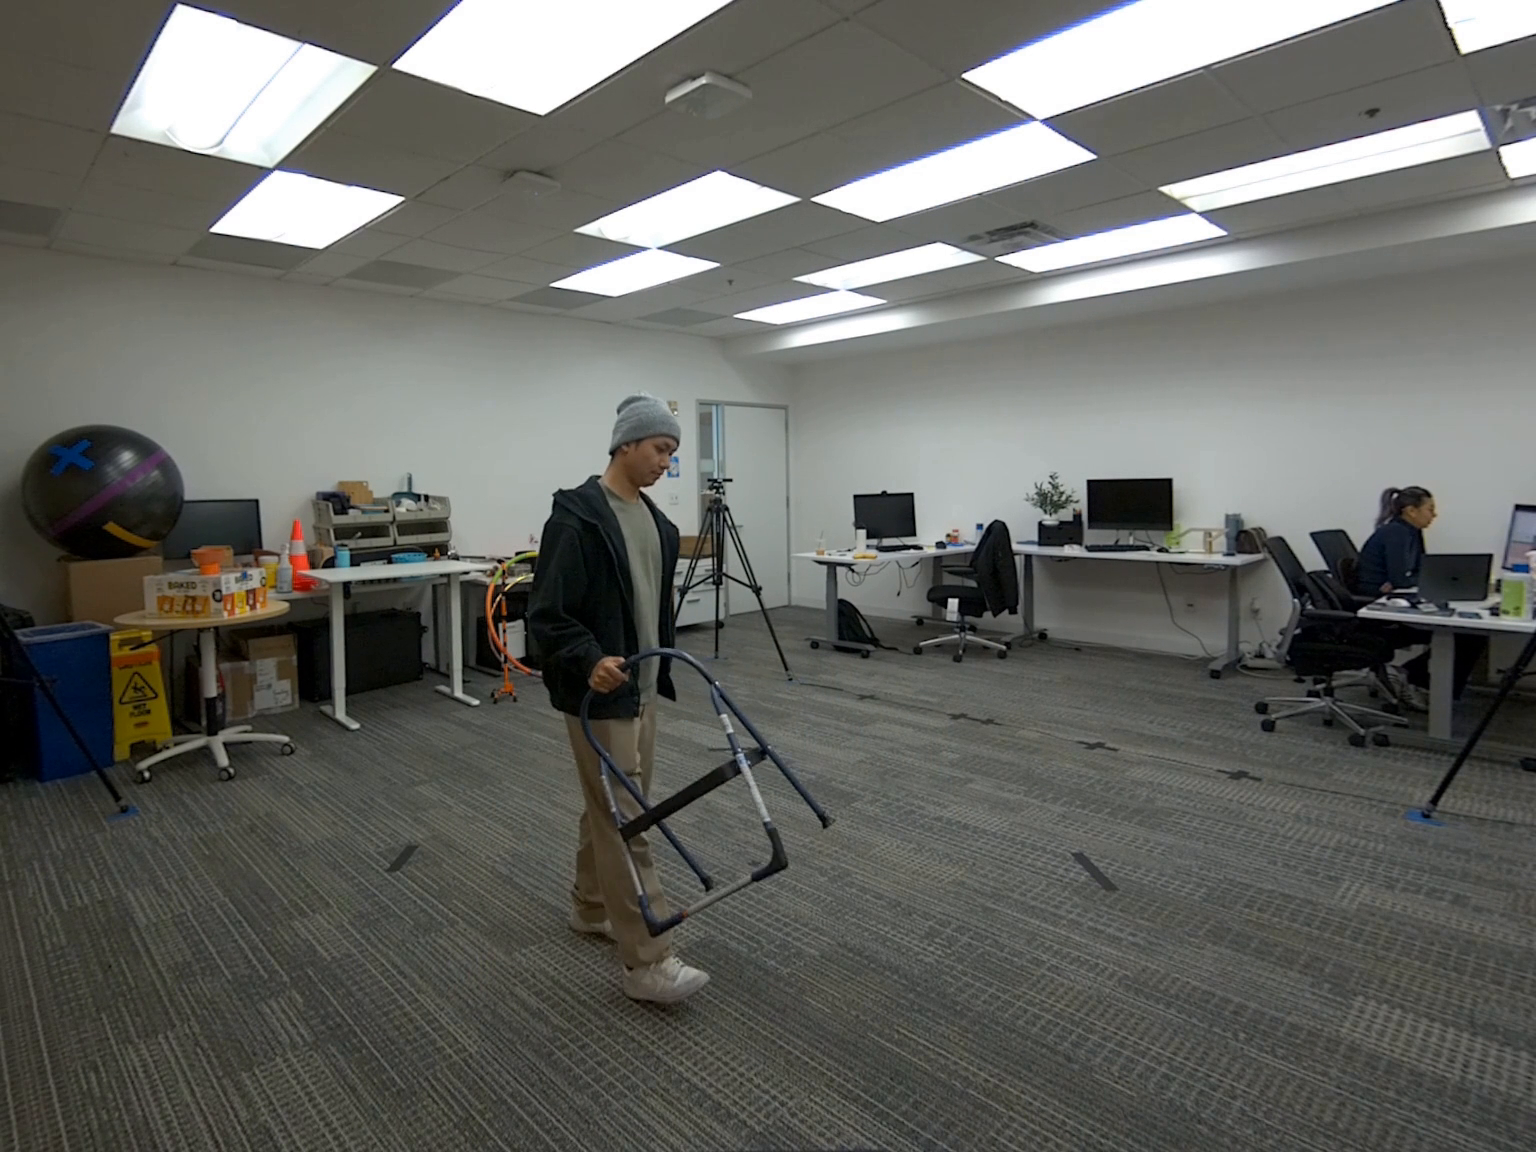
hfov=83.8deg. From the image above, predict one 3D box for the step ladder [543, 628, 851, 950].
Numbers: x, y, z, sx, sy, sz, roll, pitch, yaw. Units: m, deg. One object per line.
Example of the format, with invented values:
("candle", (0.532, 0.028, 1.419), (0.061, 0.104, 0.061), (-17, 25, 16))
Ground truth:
("step ladder", (-0.179, 0.513, 2.151), (0.433, 0.618, 0.341), (-35, -15, 19))
